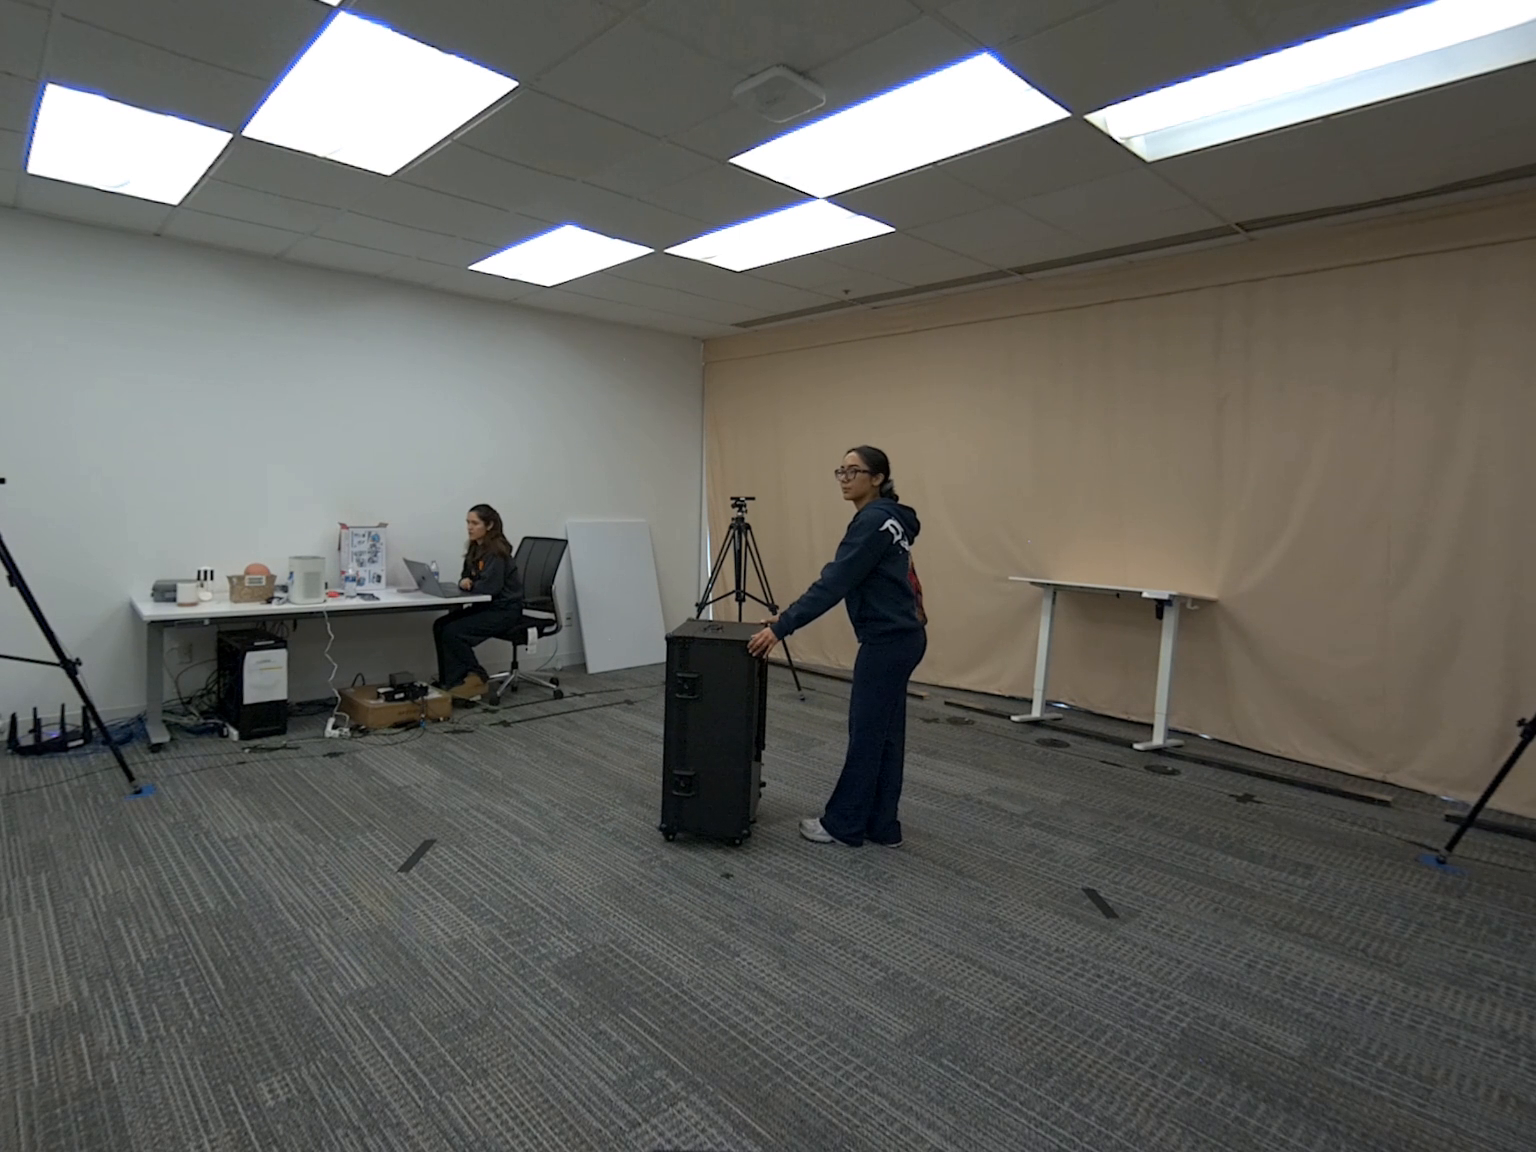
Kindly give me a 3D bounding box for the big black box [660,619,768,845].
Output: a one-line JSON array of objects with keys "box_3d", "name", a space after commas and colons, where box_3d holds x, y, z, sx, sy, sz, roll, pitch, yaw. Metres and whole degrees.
[{"box_3d": [-0.207, 0.641, 3.519, 0.399, 0.859, 0.519, 4, 4, 6], "name": "big black box"}]
